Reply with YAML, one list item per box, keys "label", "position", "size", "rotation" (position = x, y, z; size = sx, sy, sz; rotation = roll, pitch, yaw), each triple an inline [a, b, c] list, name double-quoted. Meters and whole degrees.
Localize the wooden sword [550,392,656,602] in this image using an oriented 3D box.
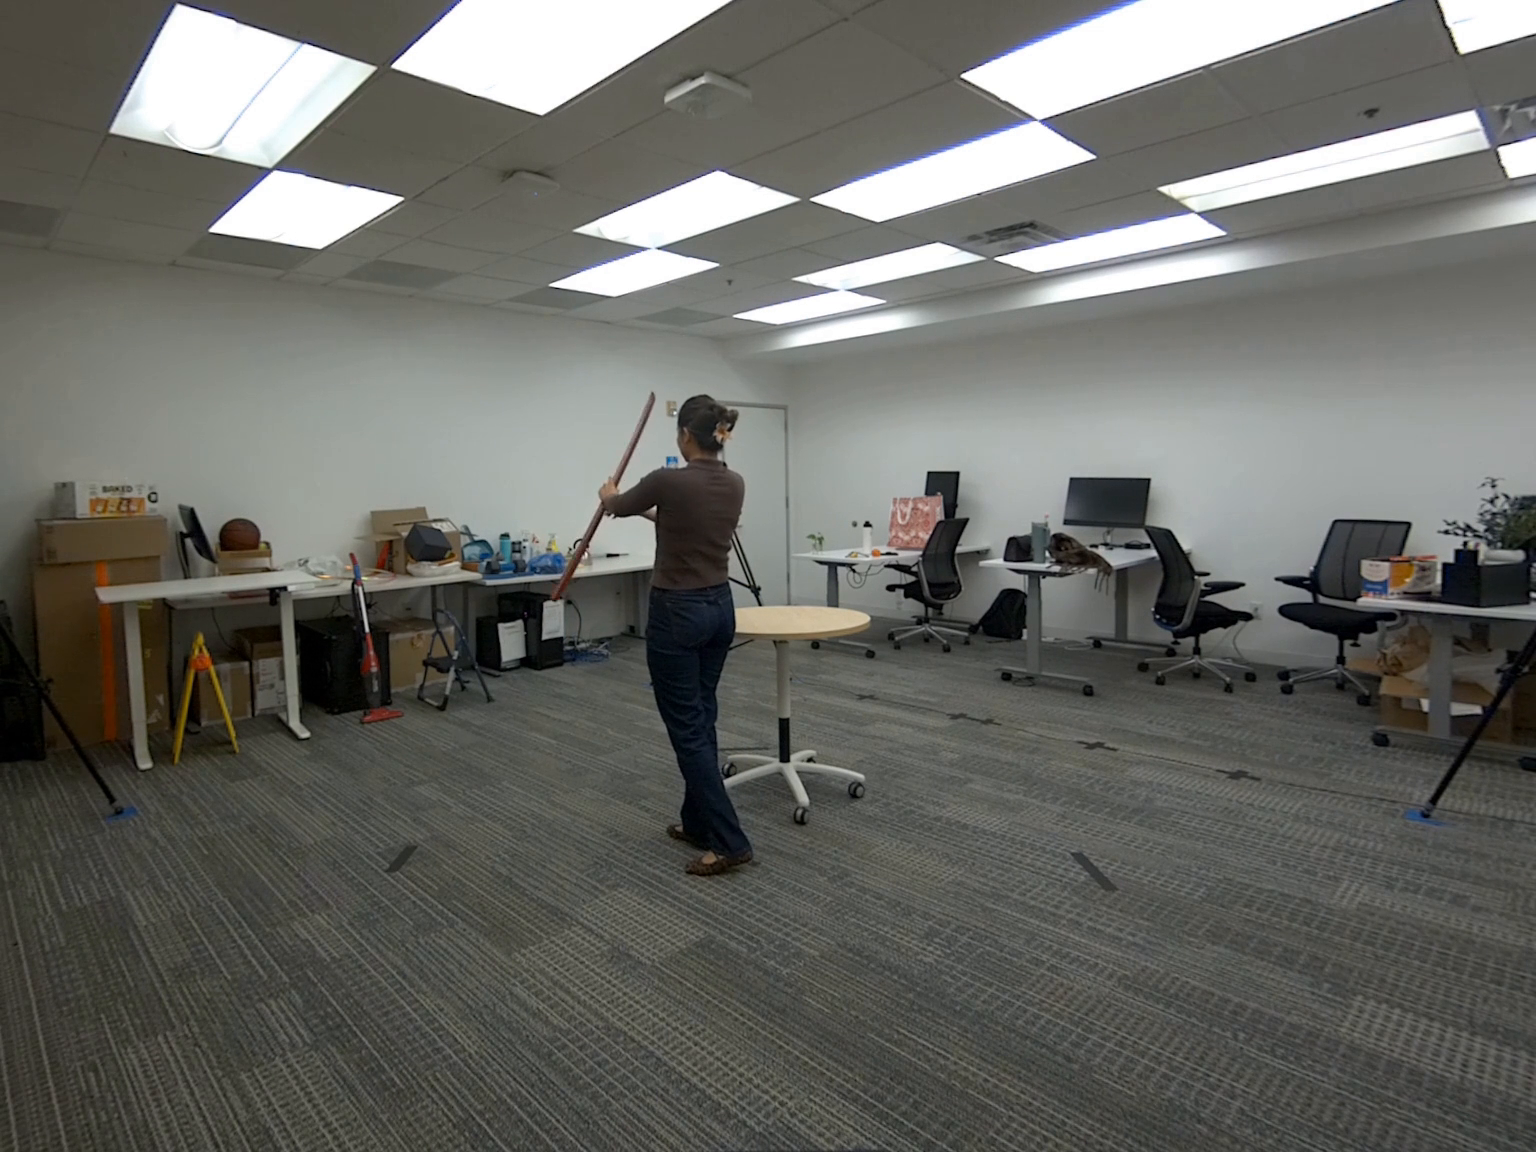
- label: "wooden sword"
  position: [-0.662, -0.356, 3.537]
  size: [0.051, 1.035, 0.024]
  rotation: [24, -23, -9]
